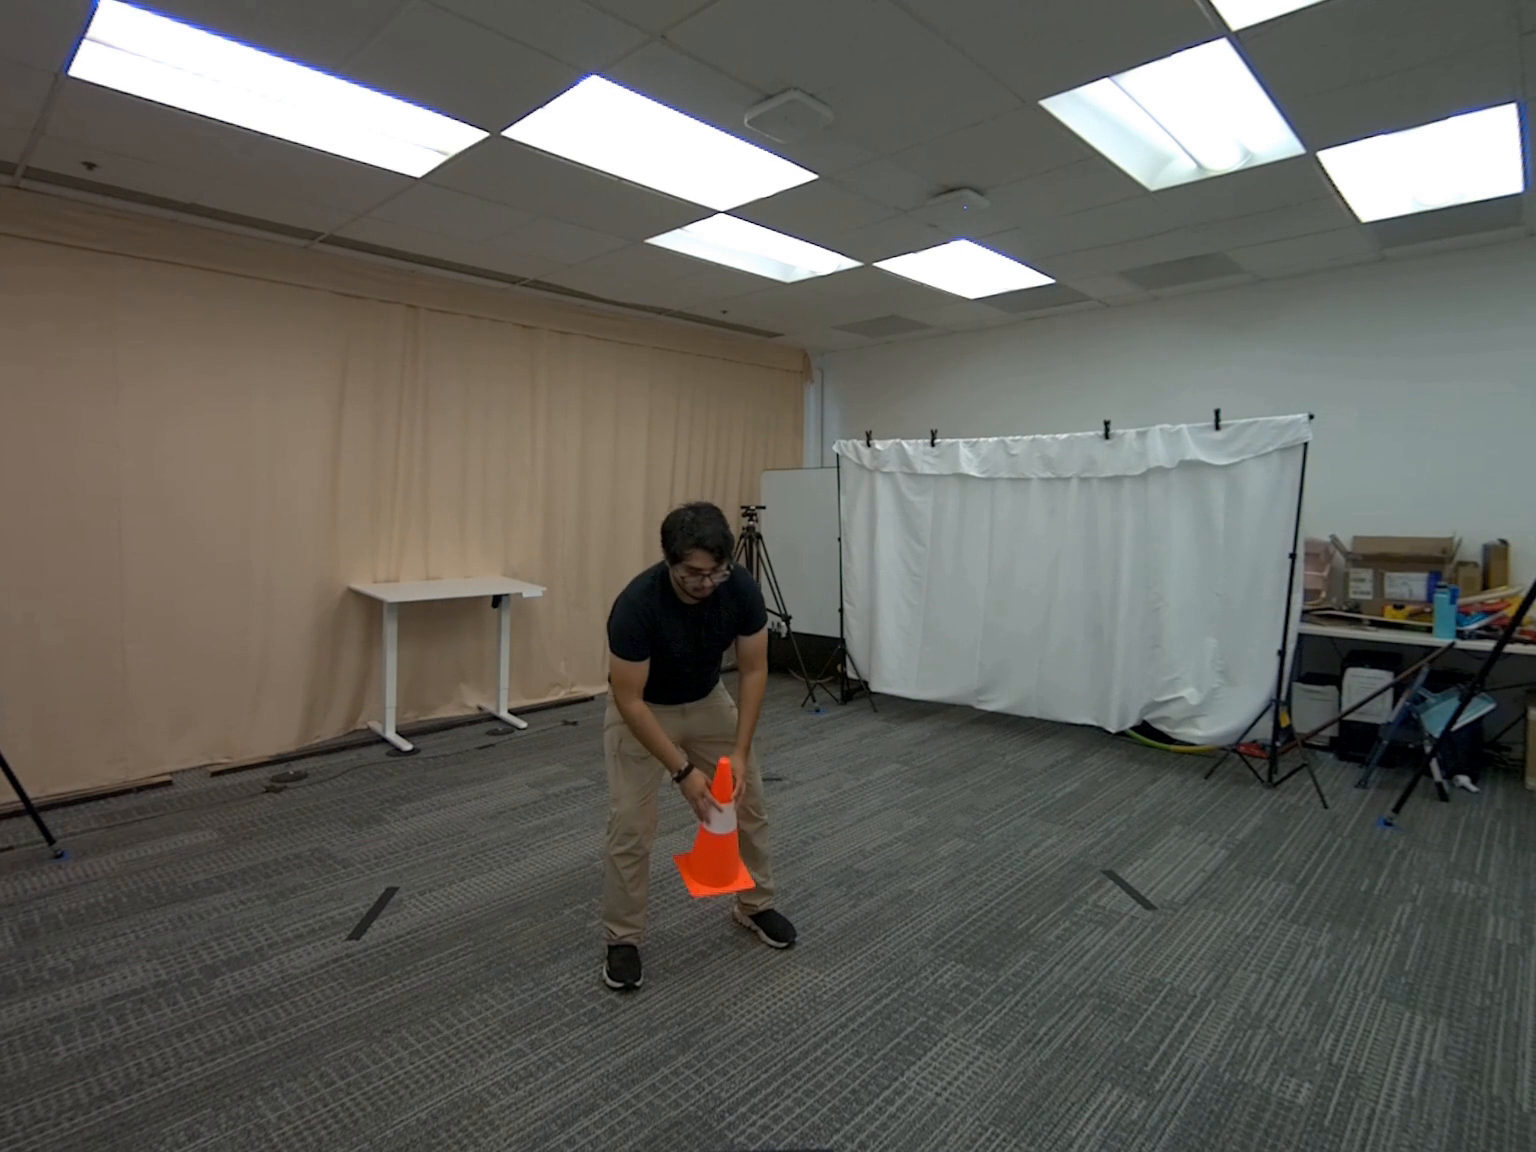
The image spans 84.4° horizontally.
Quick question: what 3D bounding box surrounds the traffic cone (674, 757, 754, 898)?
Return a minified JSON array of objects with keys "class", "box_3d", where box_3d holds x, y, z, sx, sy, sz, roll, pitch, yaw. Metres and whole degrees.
[{"class":"traffic cone","box_3d":[-0.147,0.706,2.437,0.199,0.380,0.211,-1,20,-24]}]
